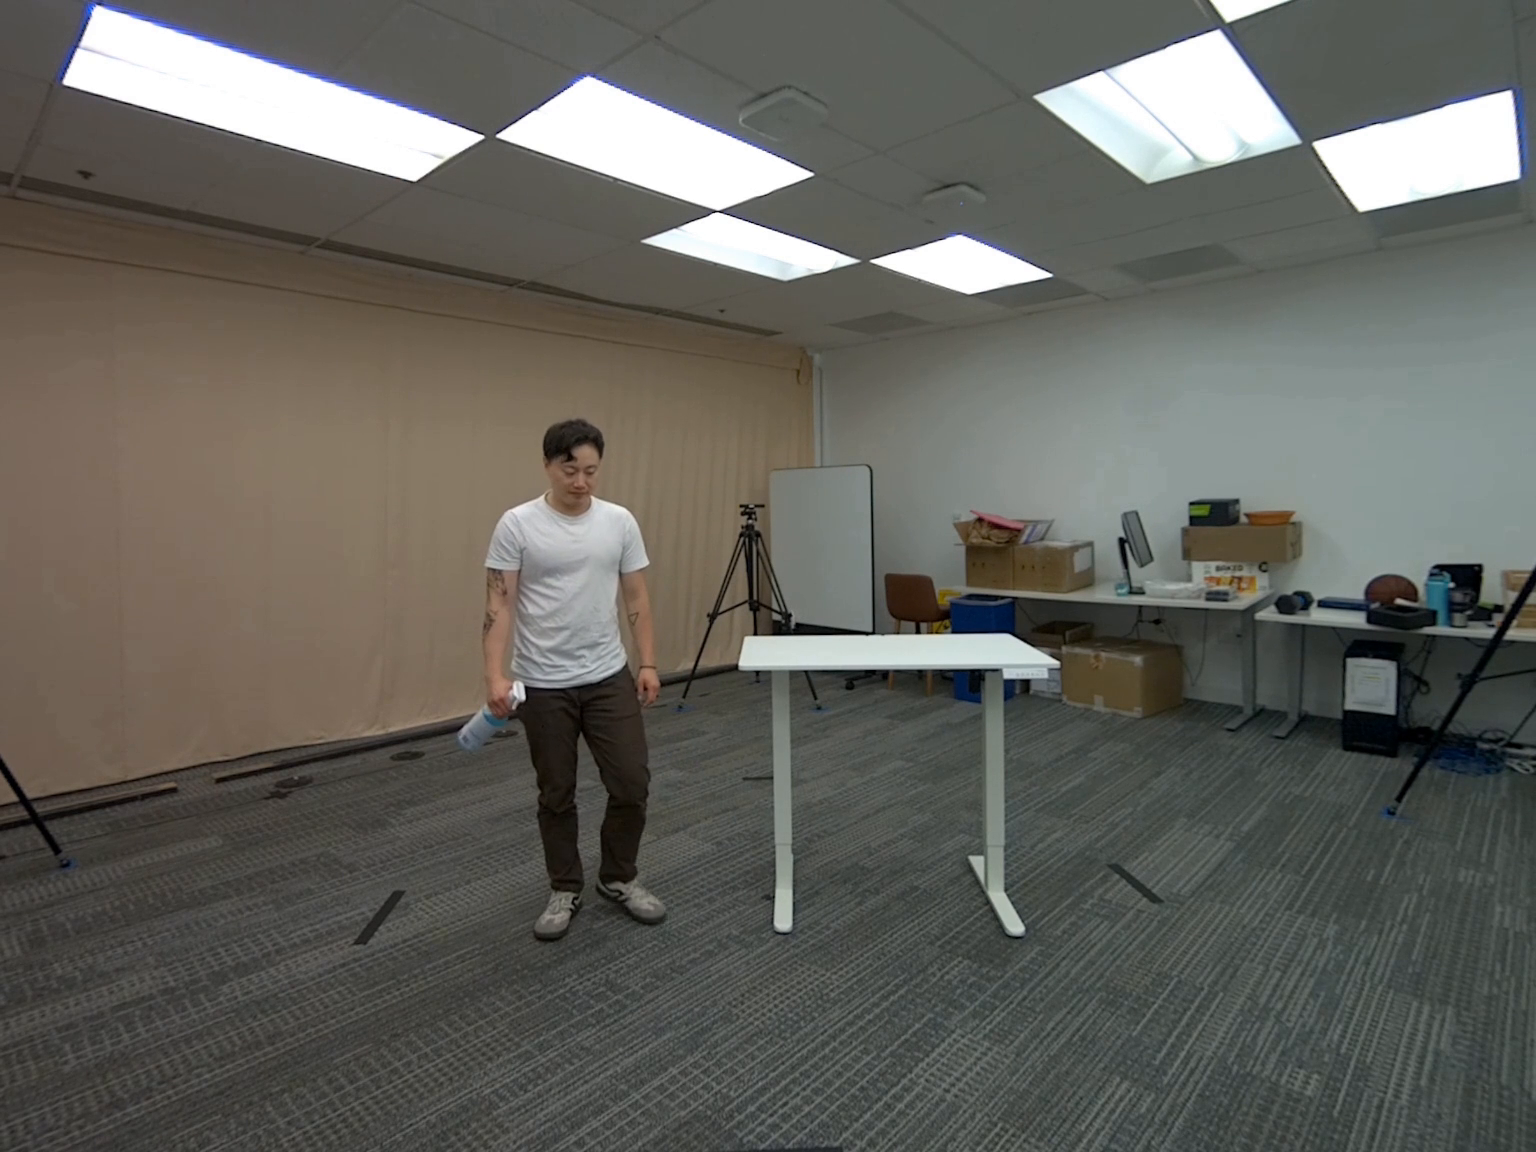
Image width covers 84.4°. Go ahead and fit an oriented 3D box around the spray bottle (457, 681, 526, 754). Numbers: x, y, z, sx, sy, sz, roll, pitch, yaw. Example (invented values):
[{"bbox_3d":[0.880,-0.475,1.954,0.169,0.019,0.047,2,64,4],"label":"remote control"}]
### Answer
[{"bbox_3d":[-0.843,0.432,2.613,0.299,0.085,0.091,-43,18,24],"label":"spray bottle"}]
